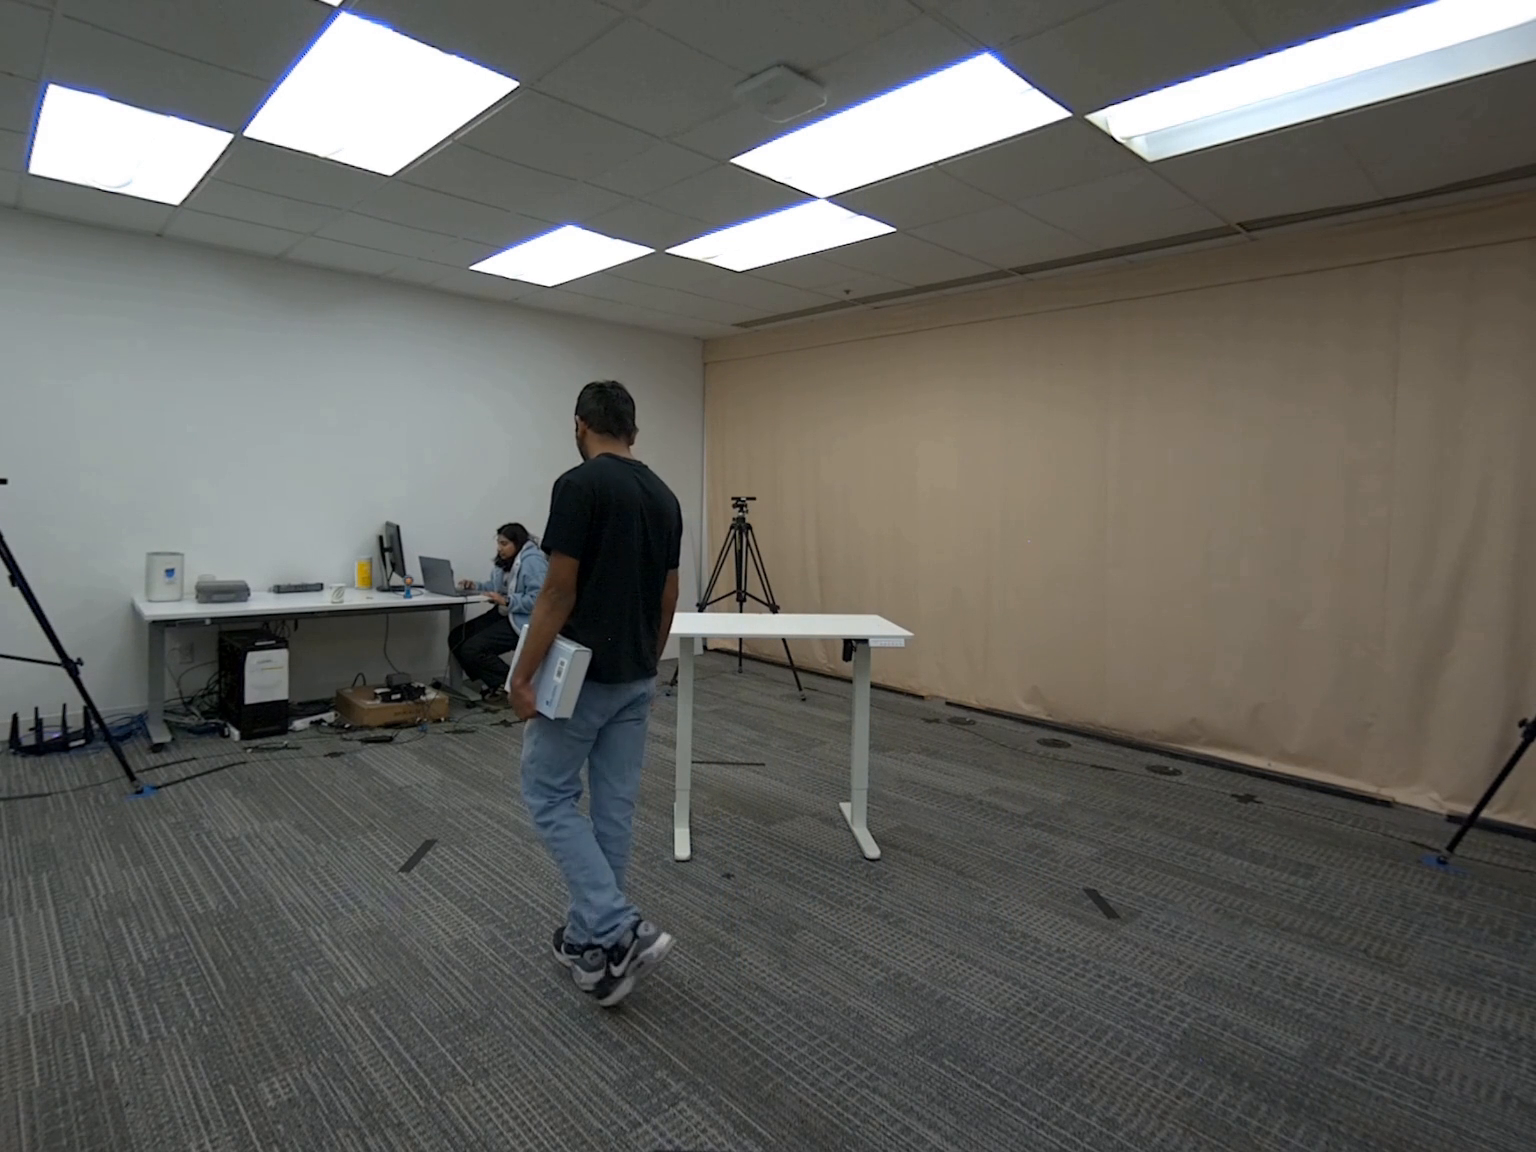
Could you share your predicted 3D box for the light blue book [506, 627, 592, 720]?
[{"bbox_3d":[-0.586,0.249,2.261,0.268,0.191,0.057,15,-3,39],"label":"light blue book"}]
